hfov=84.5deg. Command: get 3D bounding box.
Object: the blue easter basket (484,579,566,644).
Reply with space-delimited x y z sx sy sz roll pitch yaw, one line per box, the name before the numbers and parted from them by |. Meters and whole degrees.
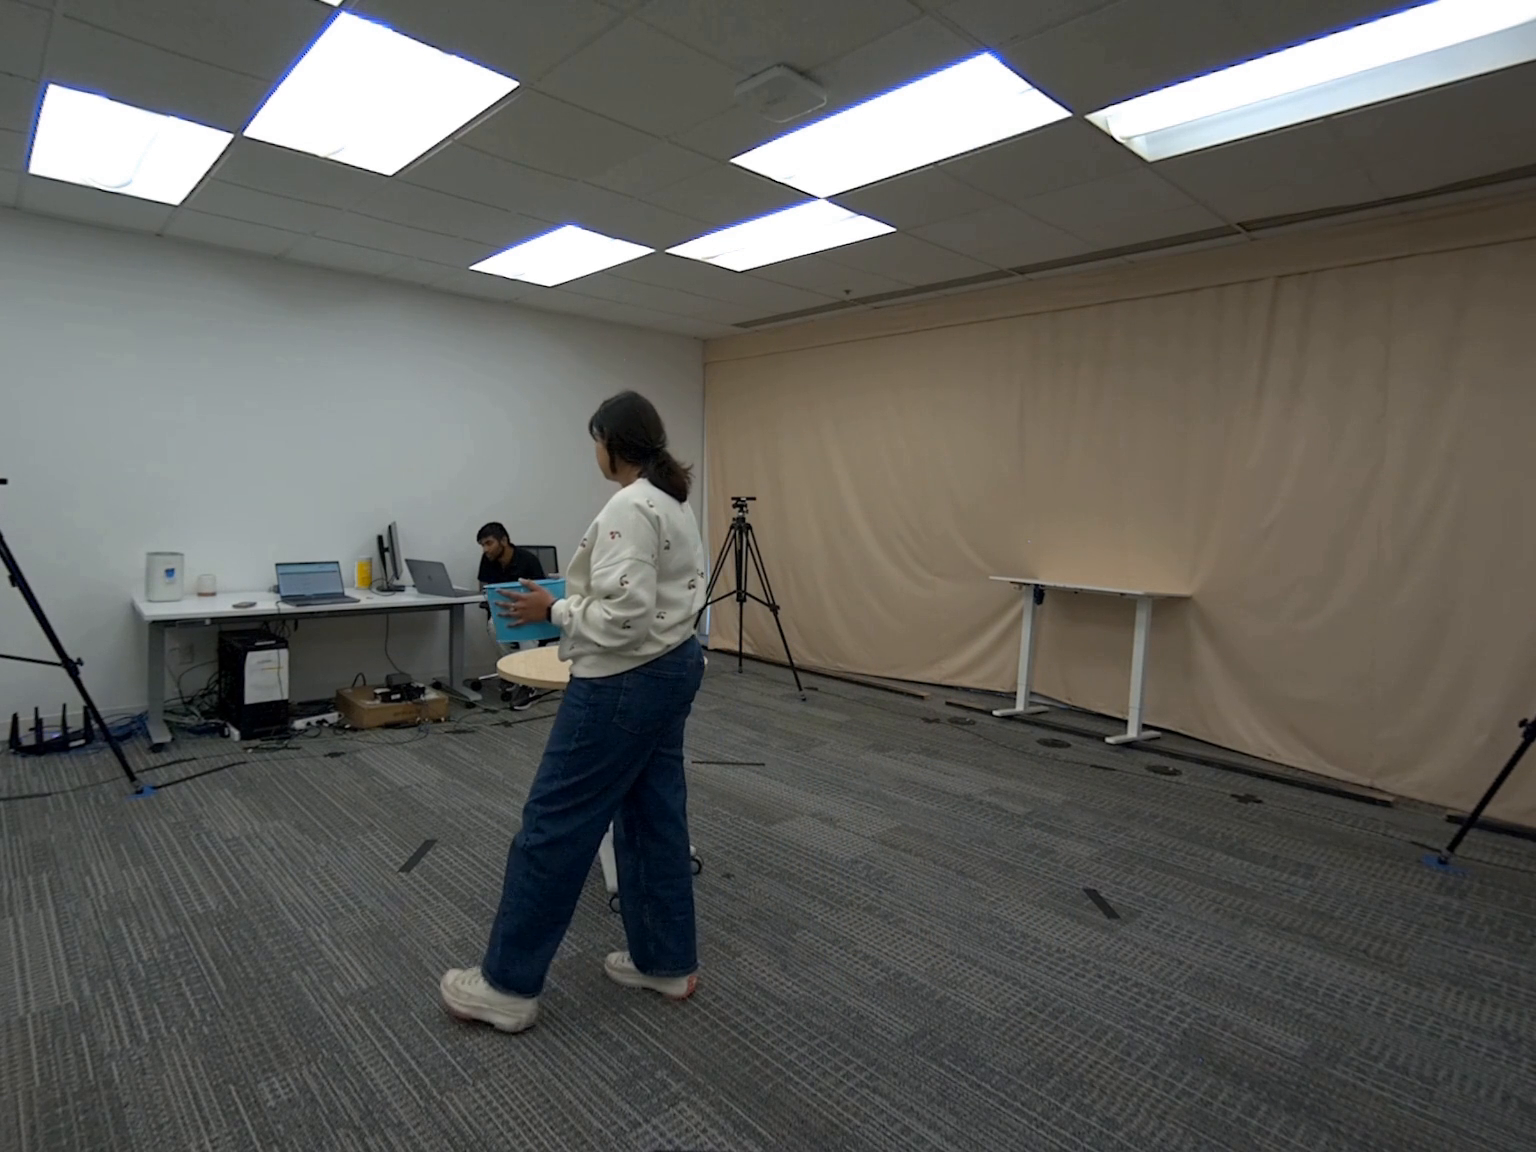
blue easter basket | -0.657 0.097 2.316 0.243 0.155 0.244 -4 5 -1
